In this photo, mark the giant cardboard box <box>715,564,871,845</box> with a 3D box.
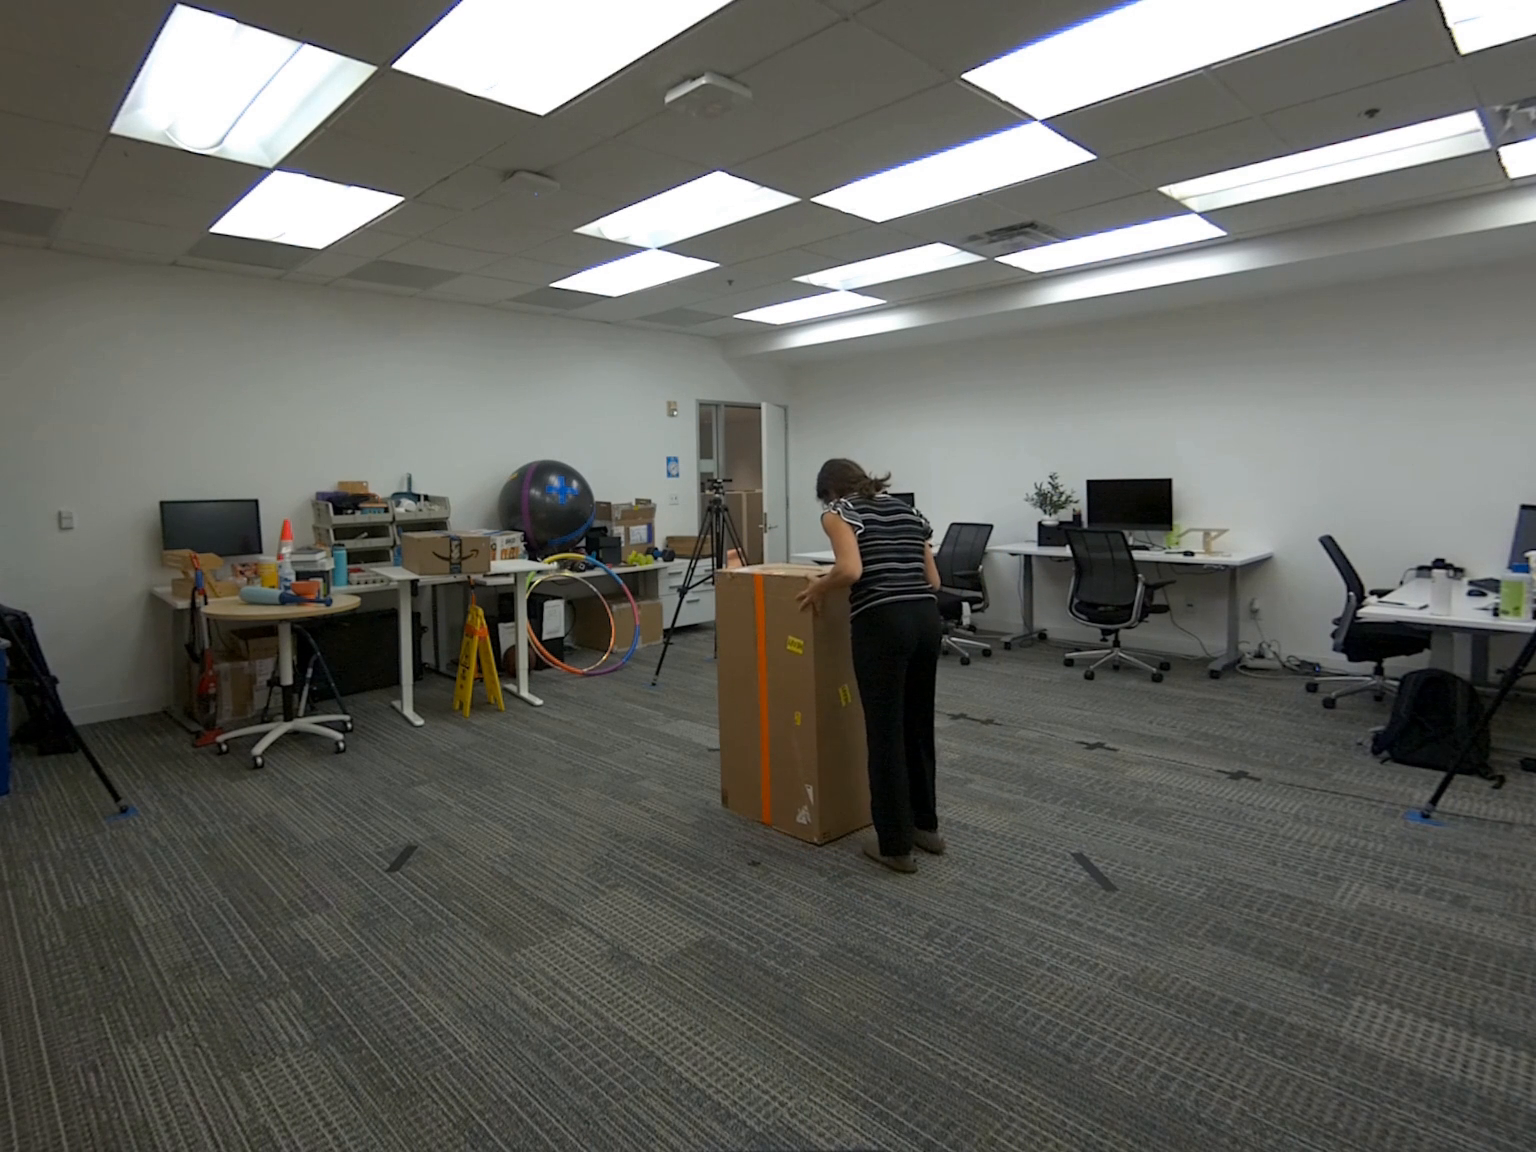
[{"bbox_3d":[0.124,0.484,3.564,0.415,1.023,0.595,-4,4,-42],"label":"giant cardboard box"}]
